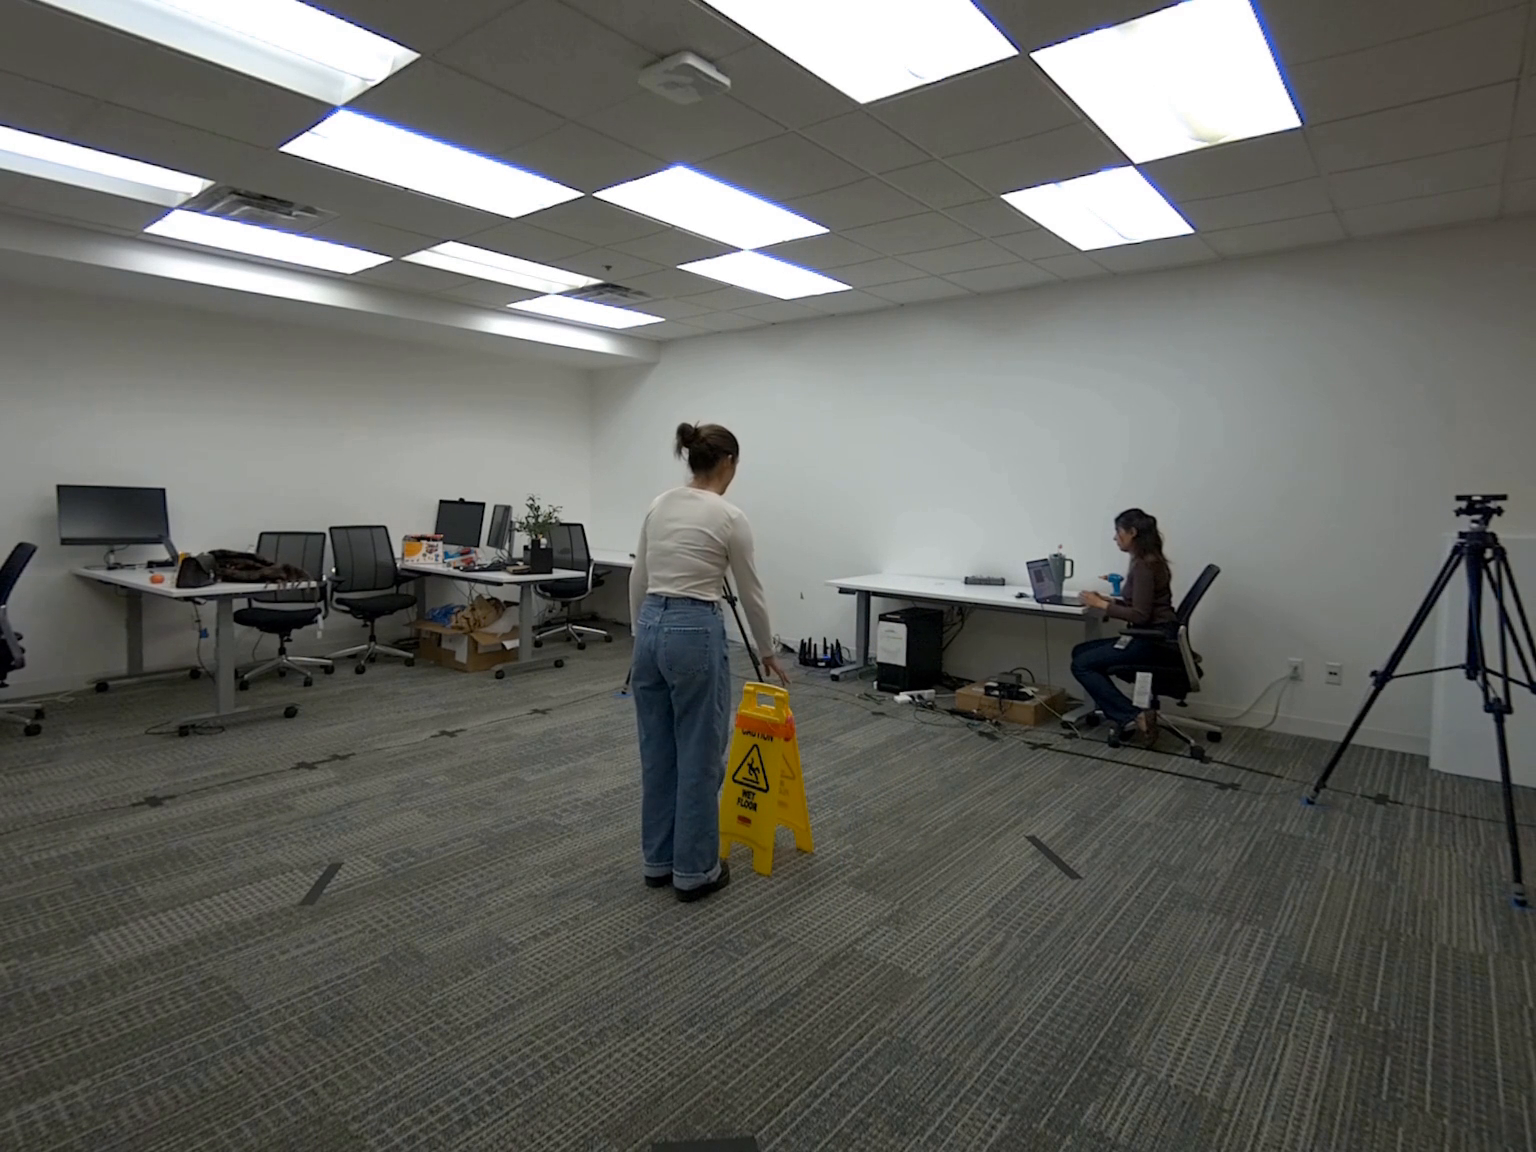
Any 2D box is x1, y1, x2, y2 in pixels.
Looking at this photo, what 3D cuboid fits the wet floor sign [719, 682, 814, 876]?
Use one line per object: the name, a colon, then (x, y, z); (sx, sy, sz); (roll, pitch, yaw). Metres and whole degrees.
wet floor sign: (-0.022, 0.730, 3.235); (0.292, 0.644, 0.281); (4, 4, 39)
